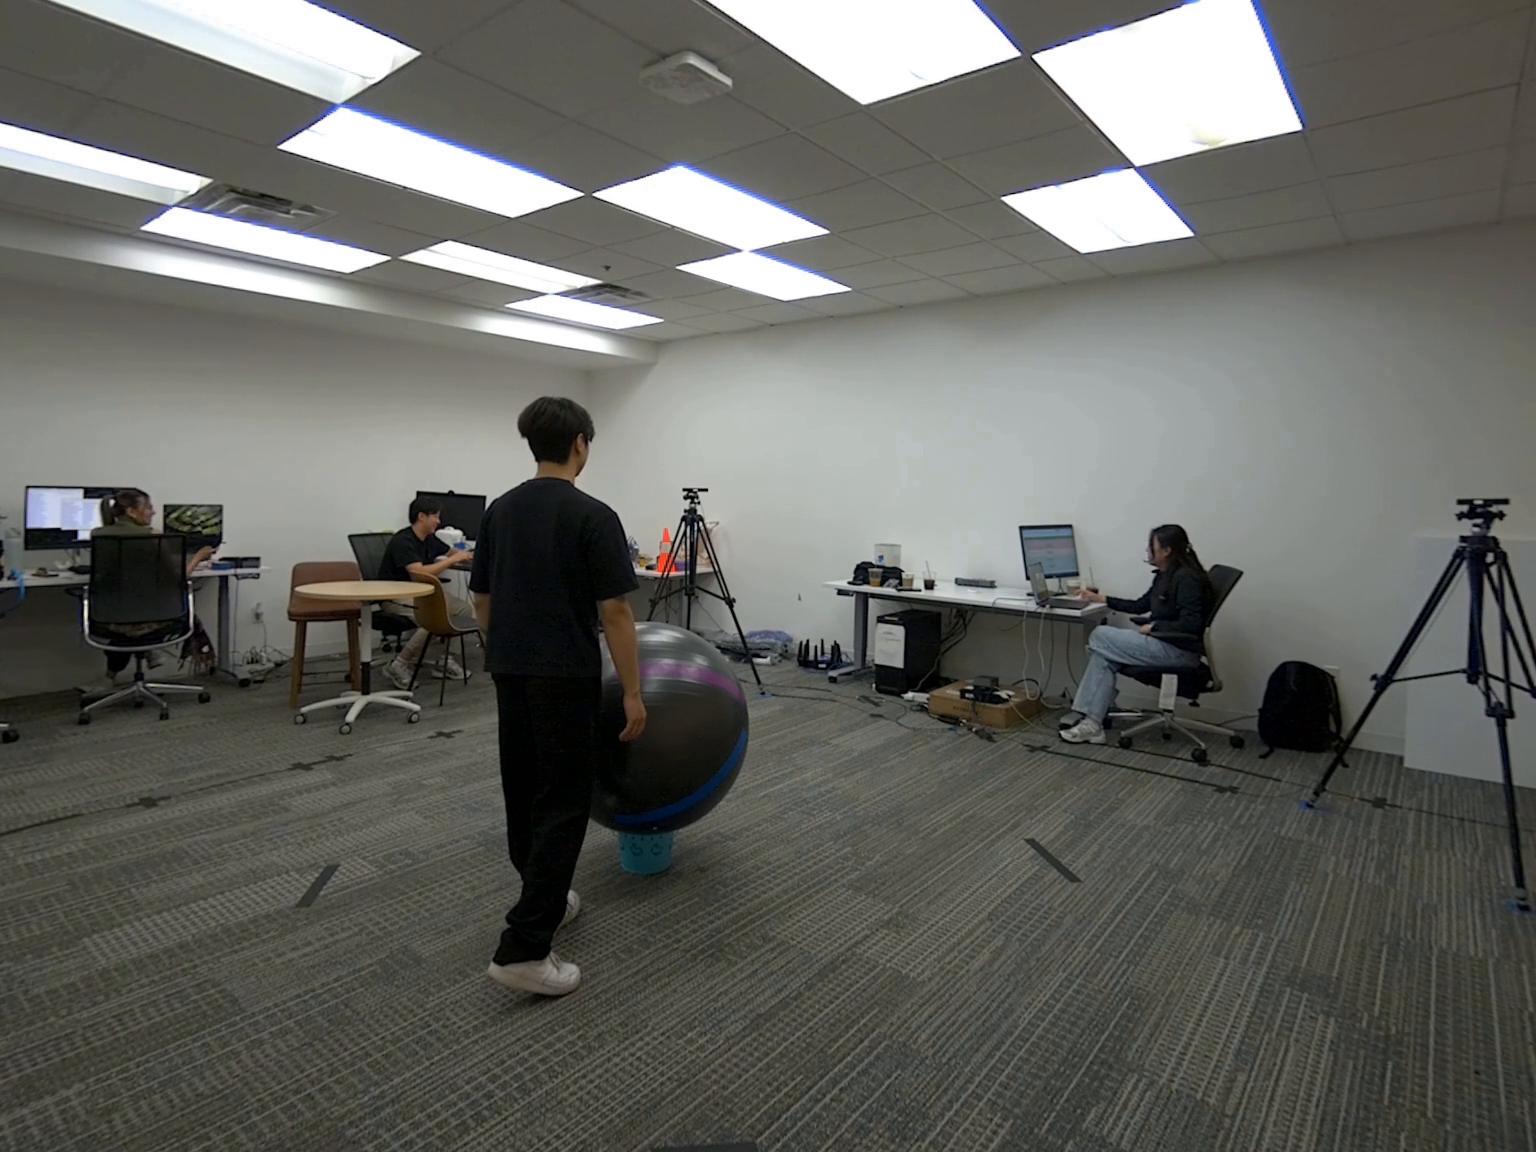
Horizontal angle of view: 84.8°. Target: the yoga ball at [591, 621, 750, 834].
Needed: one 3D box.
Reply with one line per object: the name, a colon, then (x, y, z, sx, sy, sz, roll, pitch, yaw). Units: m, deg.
yoga ball: (-0.456, 0.556, 3.136, 0.757, 0.755, 0.762, 1, 4, -2)
